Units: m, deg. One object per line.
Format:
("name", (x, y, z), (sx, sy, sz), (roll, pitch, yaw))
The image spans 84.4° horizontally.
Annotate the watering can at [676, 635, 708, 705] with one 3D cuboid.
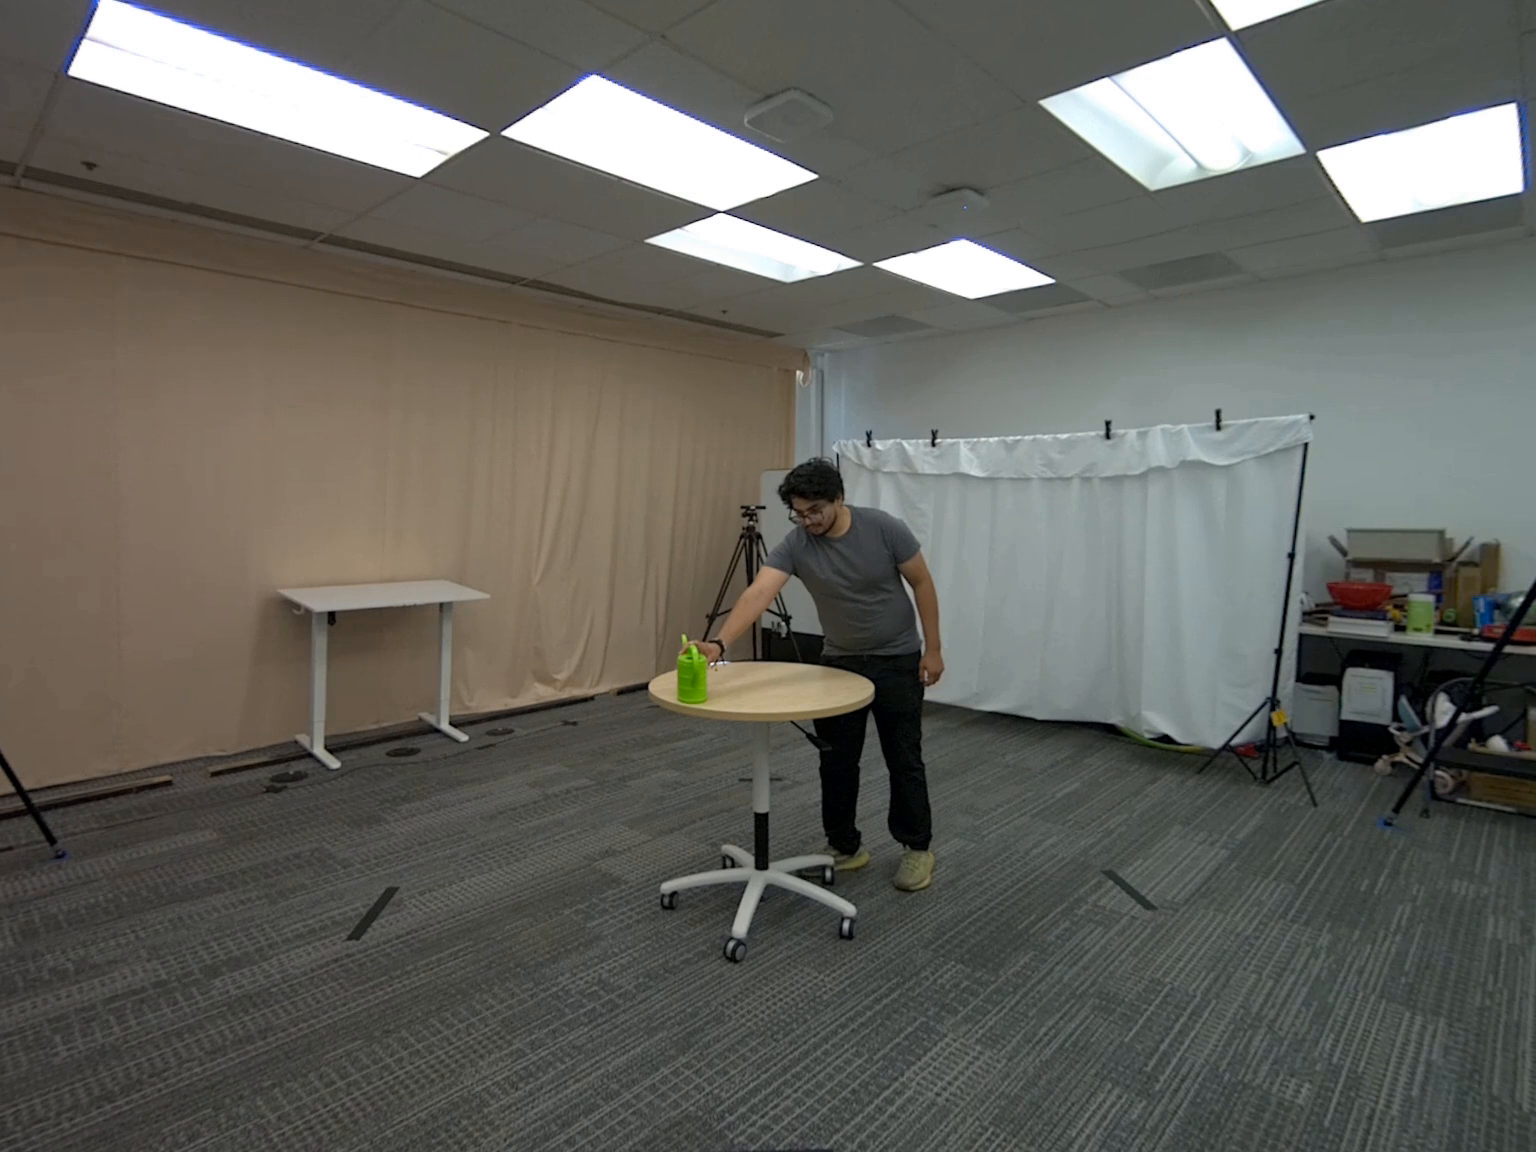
("watering can", (-0.228, 0.304, 2.700), (0.098, 0.176, 0.278), (0, 7, 3))
